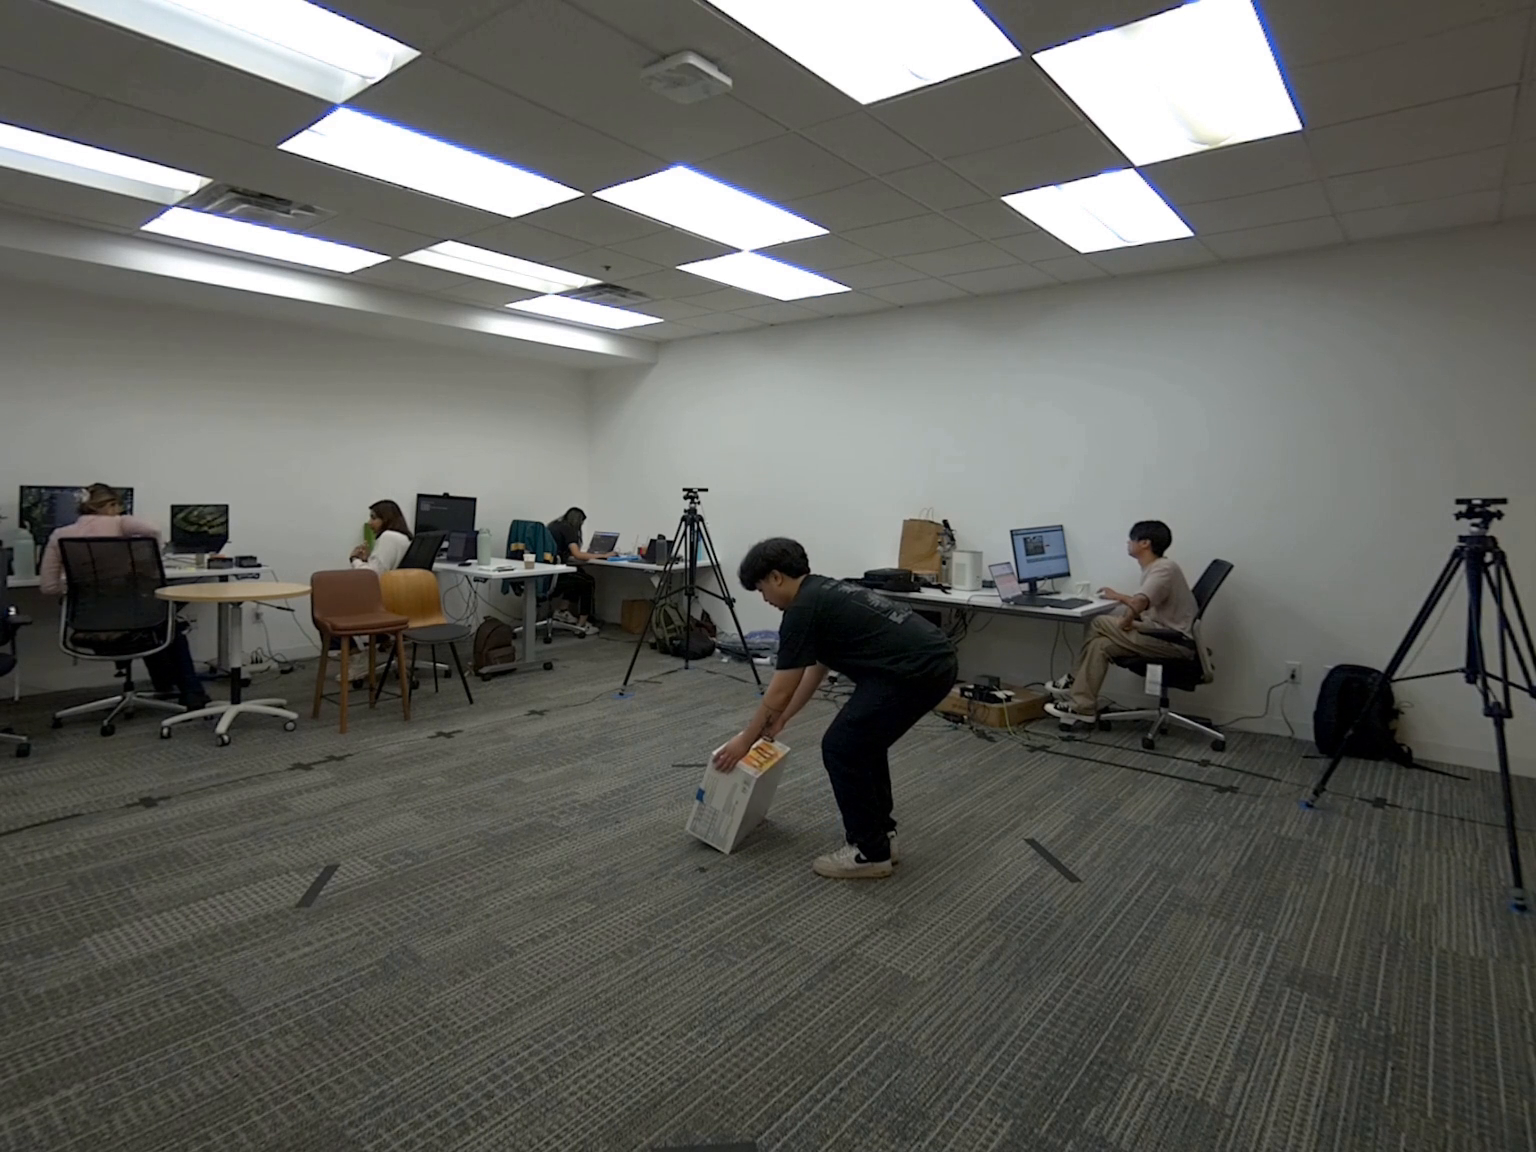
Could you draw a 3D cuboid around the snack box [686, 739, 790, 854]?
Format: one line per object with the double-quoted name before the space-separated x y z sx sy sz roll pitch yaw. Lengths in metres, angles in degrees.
"snack box" -0.123 0.850 3.427 0.211 0.338 0.397 22 12 18
